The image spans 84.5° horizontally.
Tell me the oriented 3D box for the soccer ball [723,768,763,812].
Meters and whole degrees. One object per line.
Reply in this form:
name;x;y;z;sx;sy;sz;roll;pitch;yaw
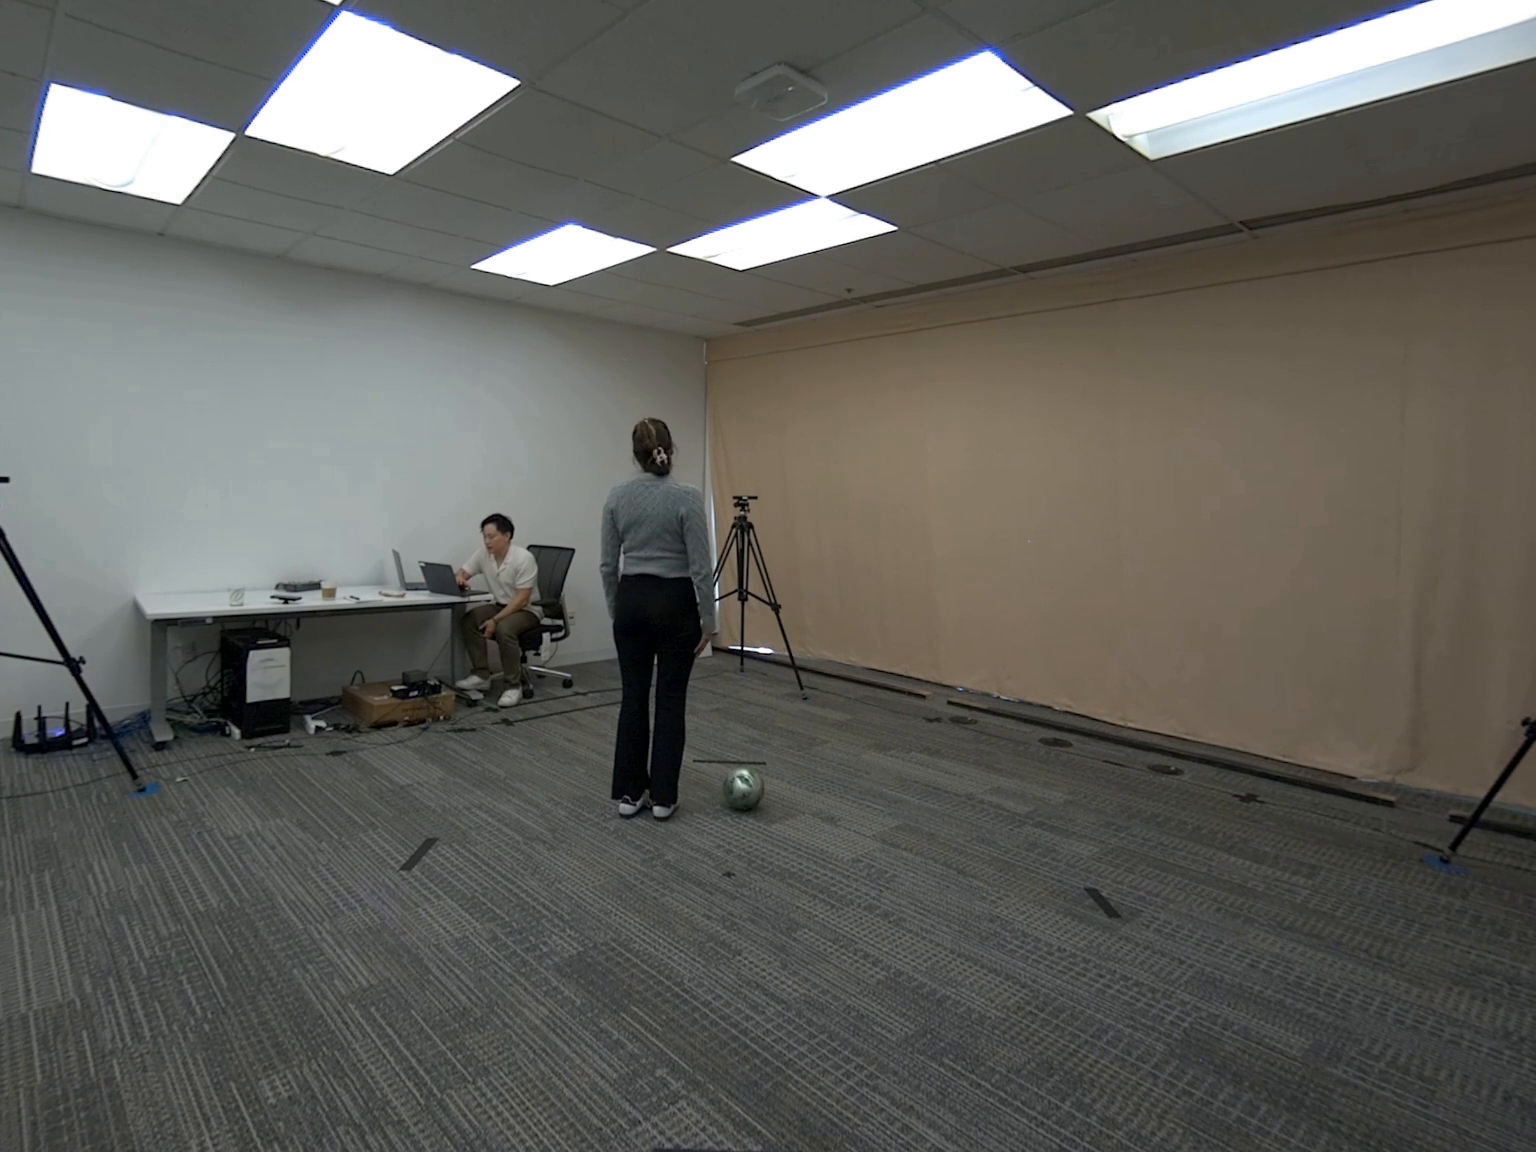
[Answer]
soccer ball;-0.126;0.958;3.776;0.187;0.187;0.188;1;4;-1
